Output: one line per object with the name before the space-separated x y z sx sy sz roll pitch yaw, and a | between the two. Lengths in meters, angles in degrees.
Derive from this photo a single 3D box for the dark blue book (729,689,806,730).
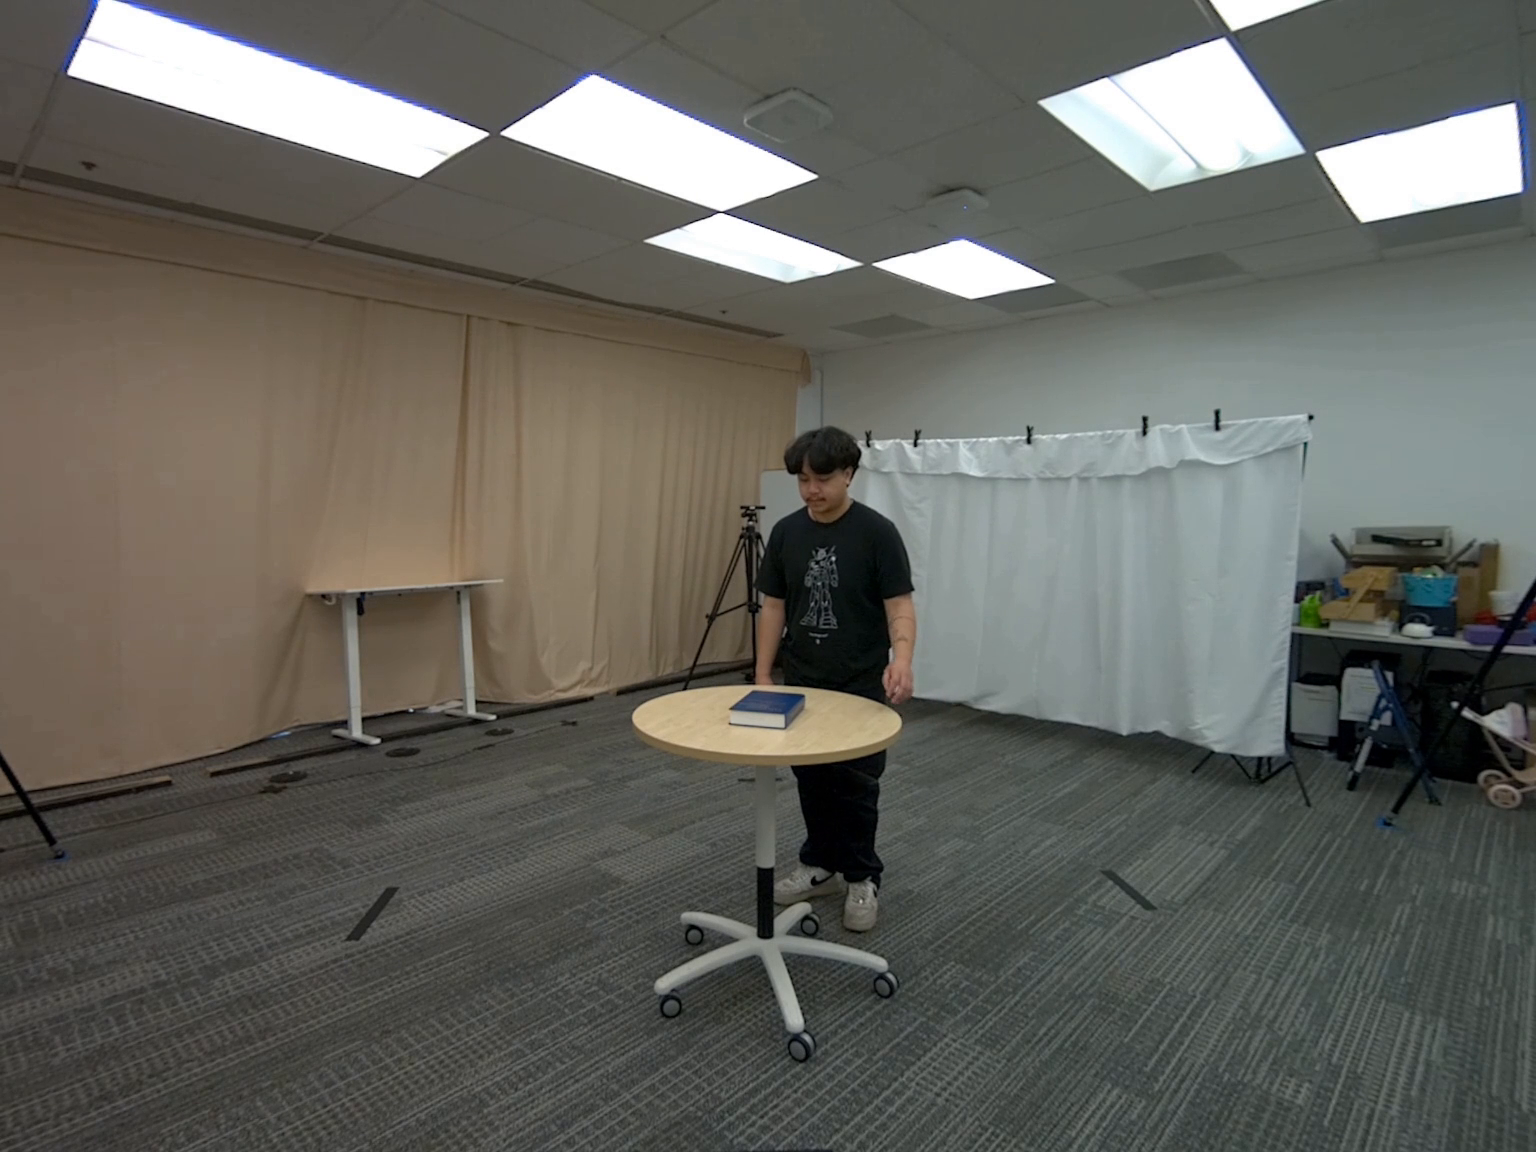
dark blue book | 0.000 0.382 2.395 0.166 0.045 0.241 1 5 15
